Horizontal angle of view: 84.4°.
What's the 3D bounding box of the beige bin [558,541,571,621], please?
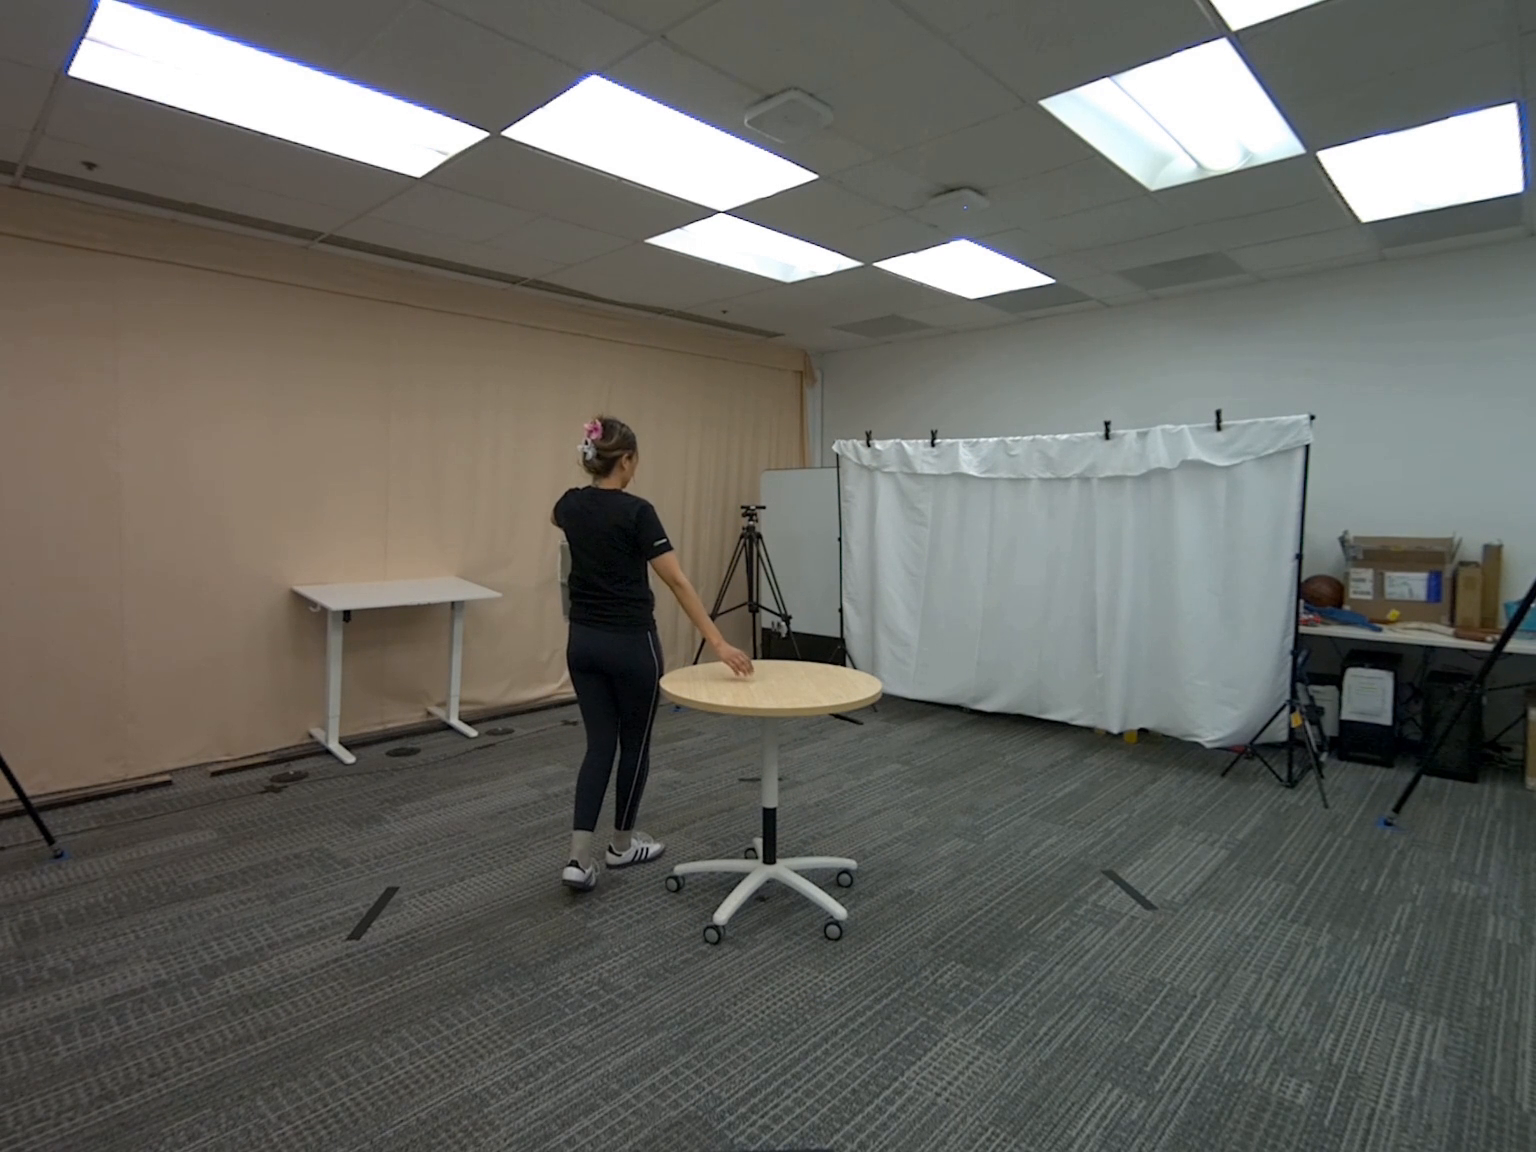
[{"bbox_3d":[-0.659,0.002,3.487,0.373,0.186,0.433,-6,26,-12],"label":"beige bin"}]
